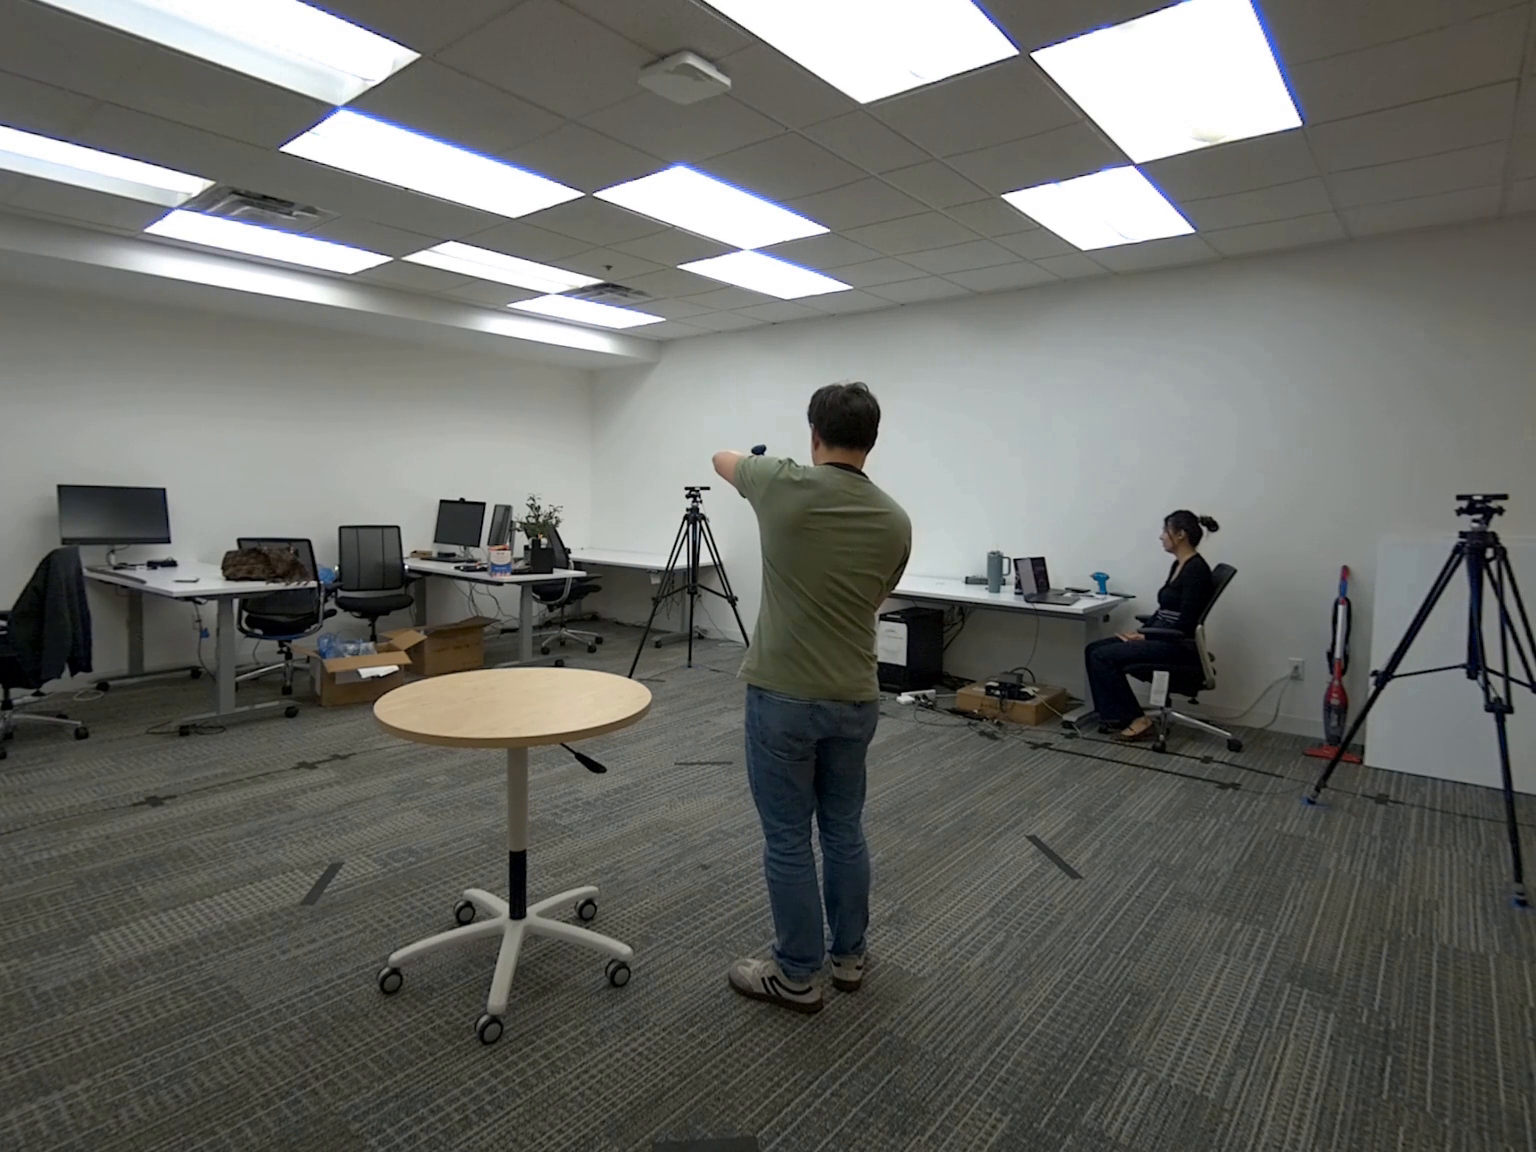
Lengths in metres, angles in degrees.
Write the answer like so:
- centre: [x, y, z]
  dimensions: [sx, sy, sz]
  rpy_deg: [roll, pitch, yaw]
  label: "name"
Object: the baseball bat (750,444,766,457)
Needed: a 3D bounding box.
- centre: [0.035, -0.158, 2.714]
  dimensions: [0.089, 0.545, 0.089]
  rpy_deg: [-16, -3, -2]
  label: "baseball bat"
